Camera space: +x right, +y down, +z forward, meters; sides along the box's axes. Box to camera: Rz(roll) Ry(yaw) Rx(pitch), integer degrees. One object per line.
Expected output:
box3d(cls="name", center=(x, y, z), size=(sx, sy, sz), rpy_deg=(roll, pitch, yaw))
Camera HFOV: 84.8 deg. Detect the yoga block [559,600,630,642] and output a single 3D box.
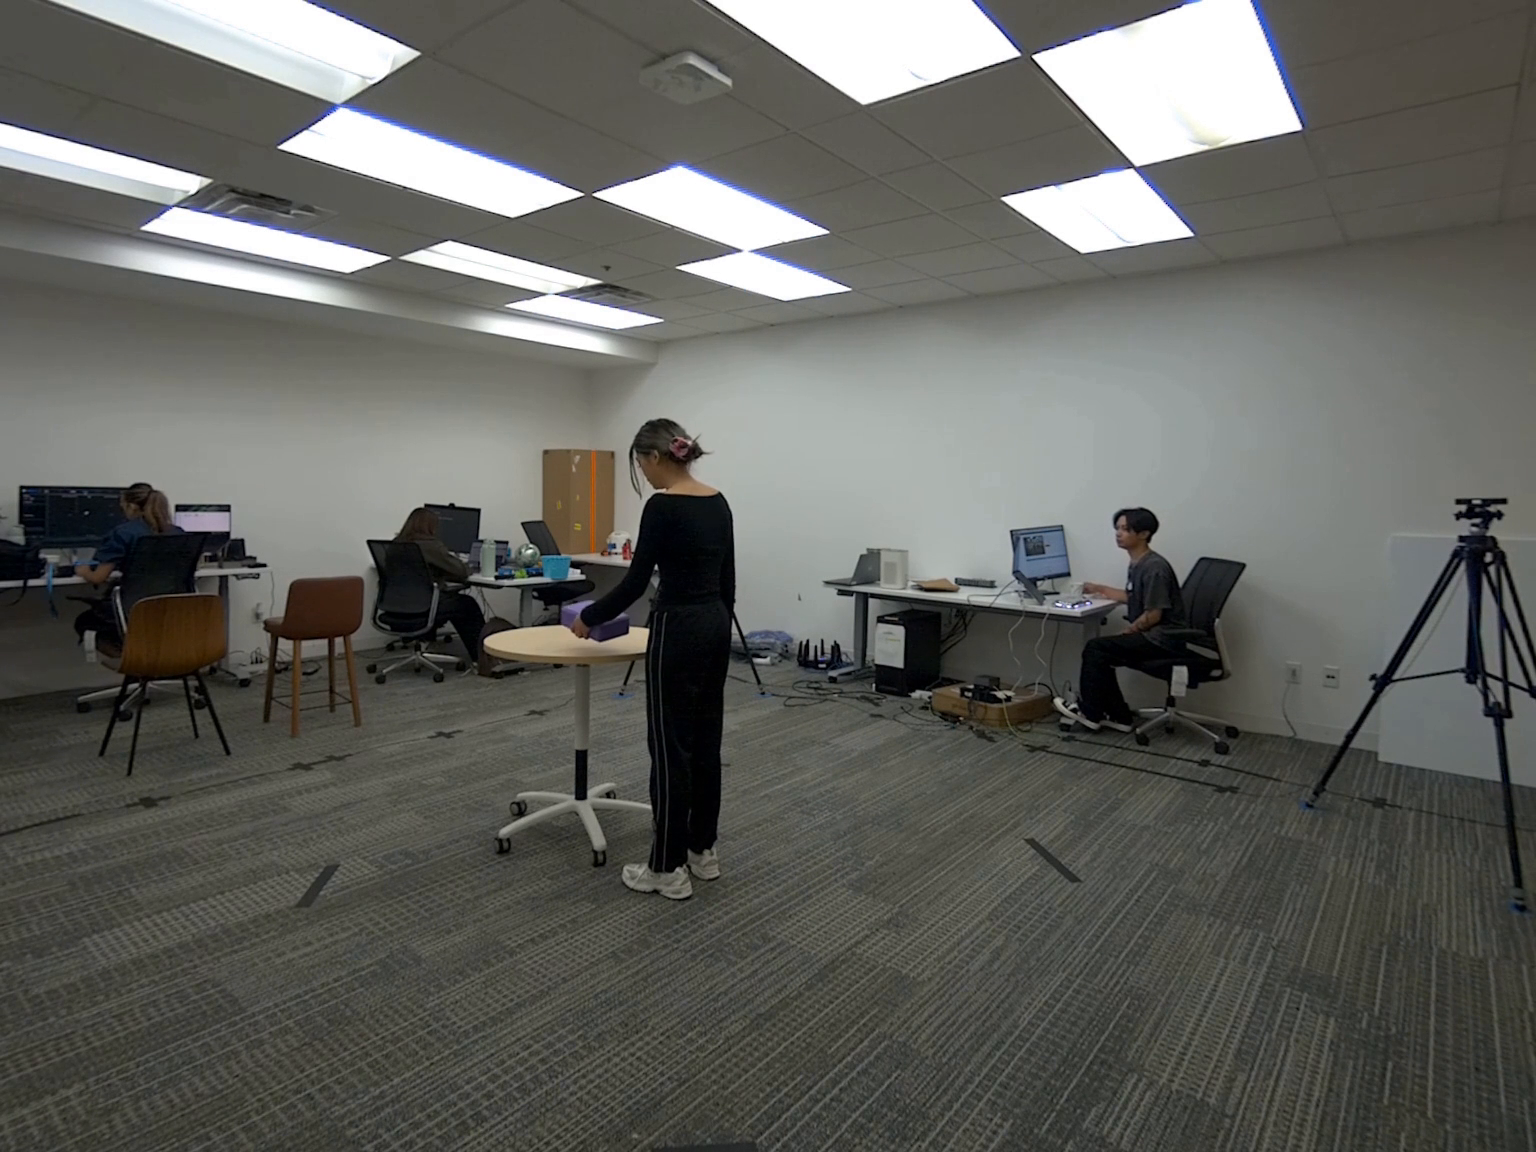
box3d(cls="yoga block", center=(-0.656, 0.168, 3.125), size=(0.238, 0.075, 0.145), rpy_deg=(18, 21, 38))
